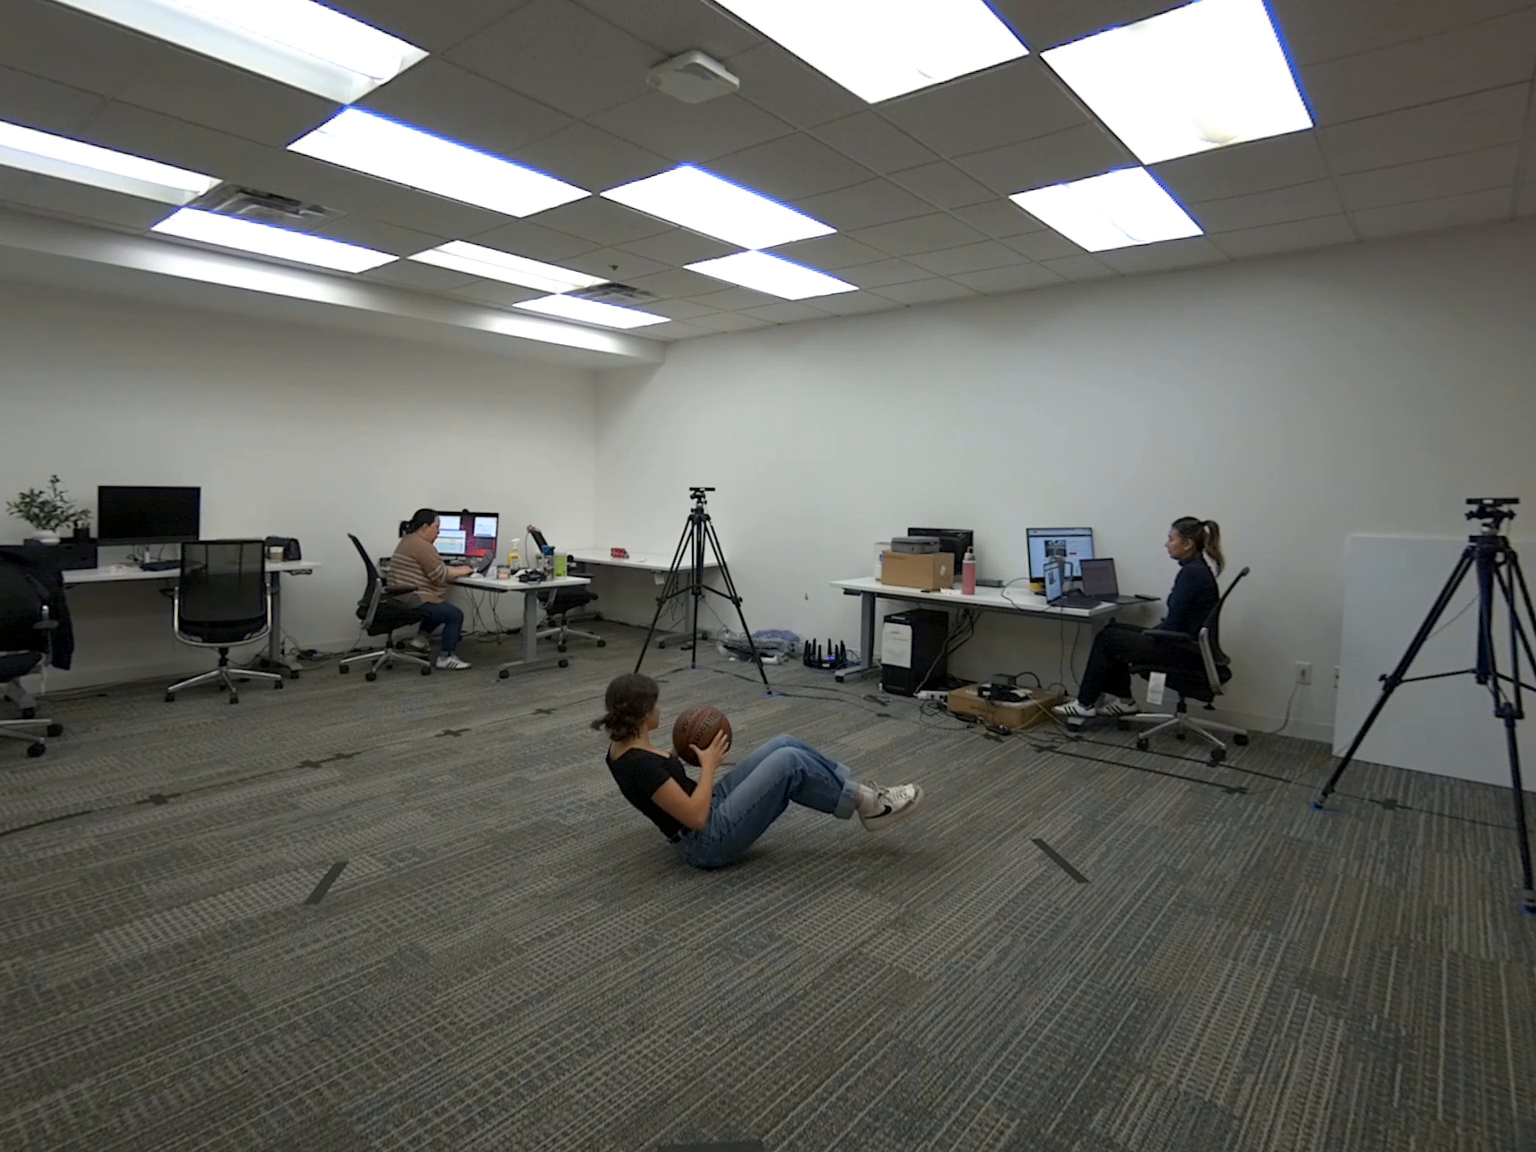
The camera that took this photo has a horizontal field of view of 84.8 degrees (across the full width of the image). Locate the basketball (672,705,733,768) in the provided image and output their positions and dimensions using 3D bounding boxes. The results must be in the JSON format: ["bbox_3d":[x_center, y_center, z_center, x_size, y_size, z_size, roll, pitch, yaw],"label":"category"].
[{"bbox_3d":[-0.284,0.649,3.363,0.235,0.235,0.237,1,4,-2],"label":"basketball"}]
